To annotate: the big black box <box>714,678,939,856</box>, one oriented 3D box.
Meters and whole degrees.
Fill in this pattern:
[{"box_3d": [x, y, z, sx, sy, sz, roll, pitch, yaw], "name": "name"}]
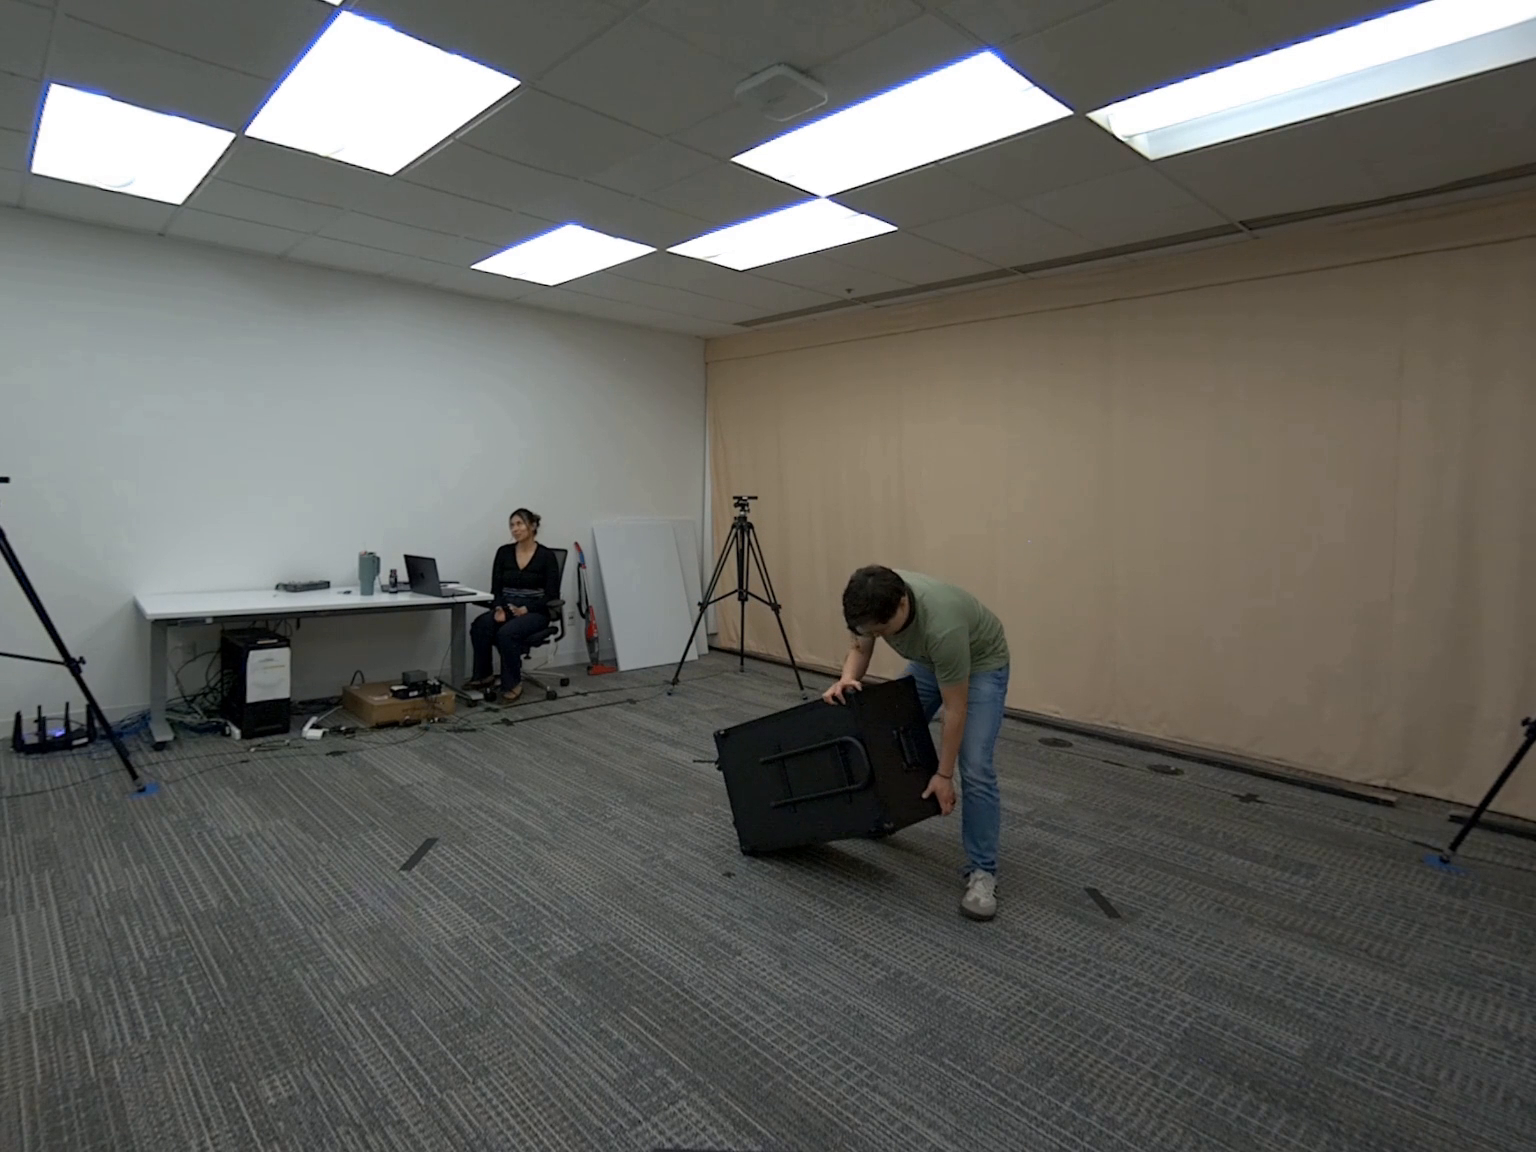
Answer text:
[{"box_3d": [0.173, 0.746, 3.198, 0.387, 0.528, 0.870, -2, -18, -41], "name": "big black box"}]
